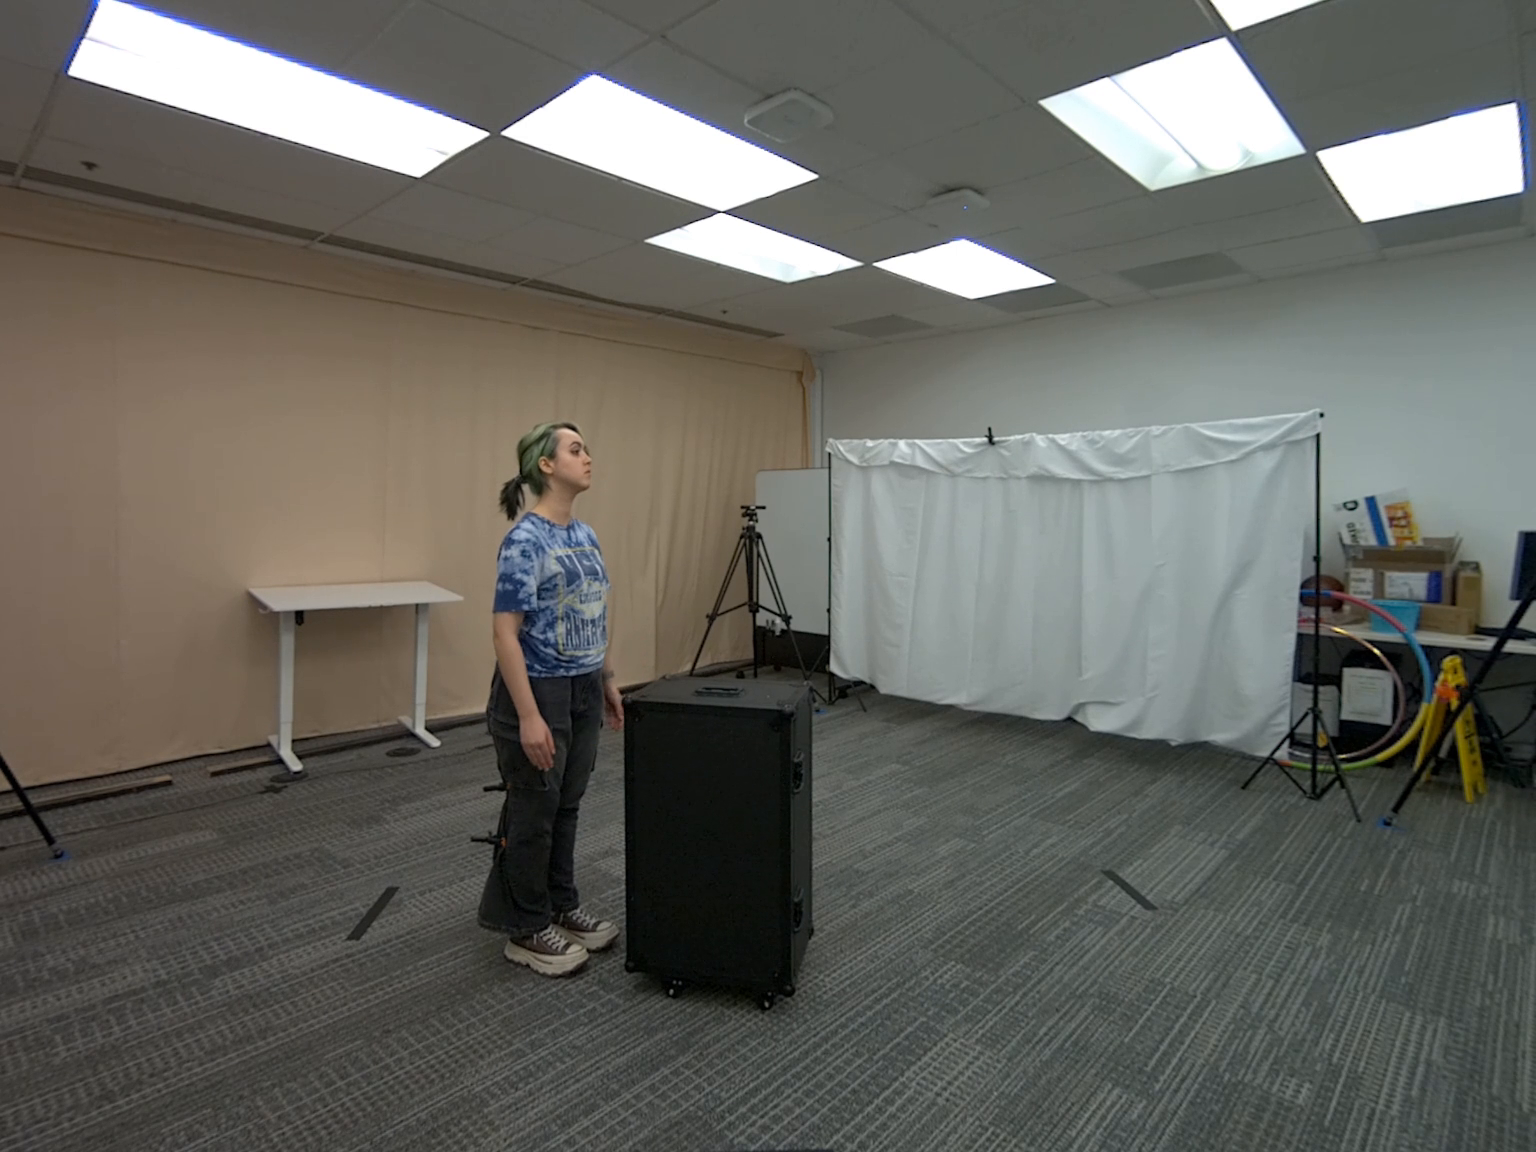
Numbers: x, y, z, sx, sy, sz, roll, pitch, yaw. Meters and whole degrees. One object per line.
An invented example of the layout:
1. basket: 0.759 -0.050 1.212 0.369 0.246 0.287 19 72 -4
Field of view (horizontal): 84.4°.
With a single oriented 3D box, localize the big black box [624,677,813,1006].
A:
1. big black box: -0.137 0.766 2.486 0.530 0.860 0.390 0 2 15
